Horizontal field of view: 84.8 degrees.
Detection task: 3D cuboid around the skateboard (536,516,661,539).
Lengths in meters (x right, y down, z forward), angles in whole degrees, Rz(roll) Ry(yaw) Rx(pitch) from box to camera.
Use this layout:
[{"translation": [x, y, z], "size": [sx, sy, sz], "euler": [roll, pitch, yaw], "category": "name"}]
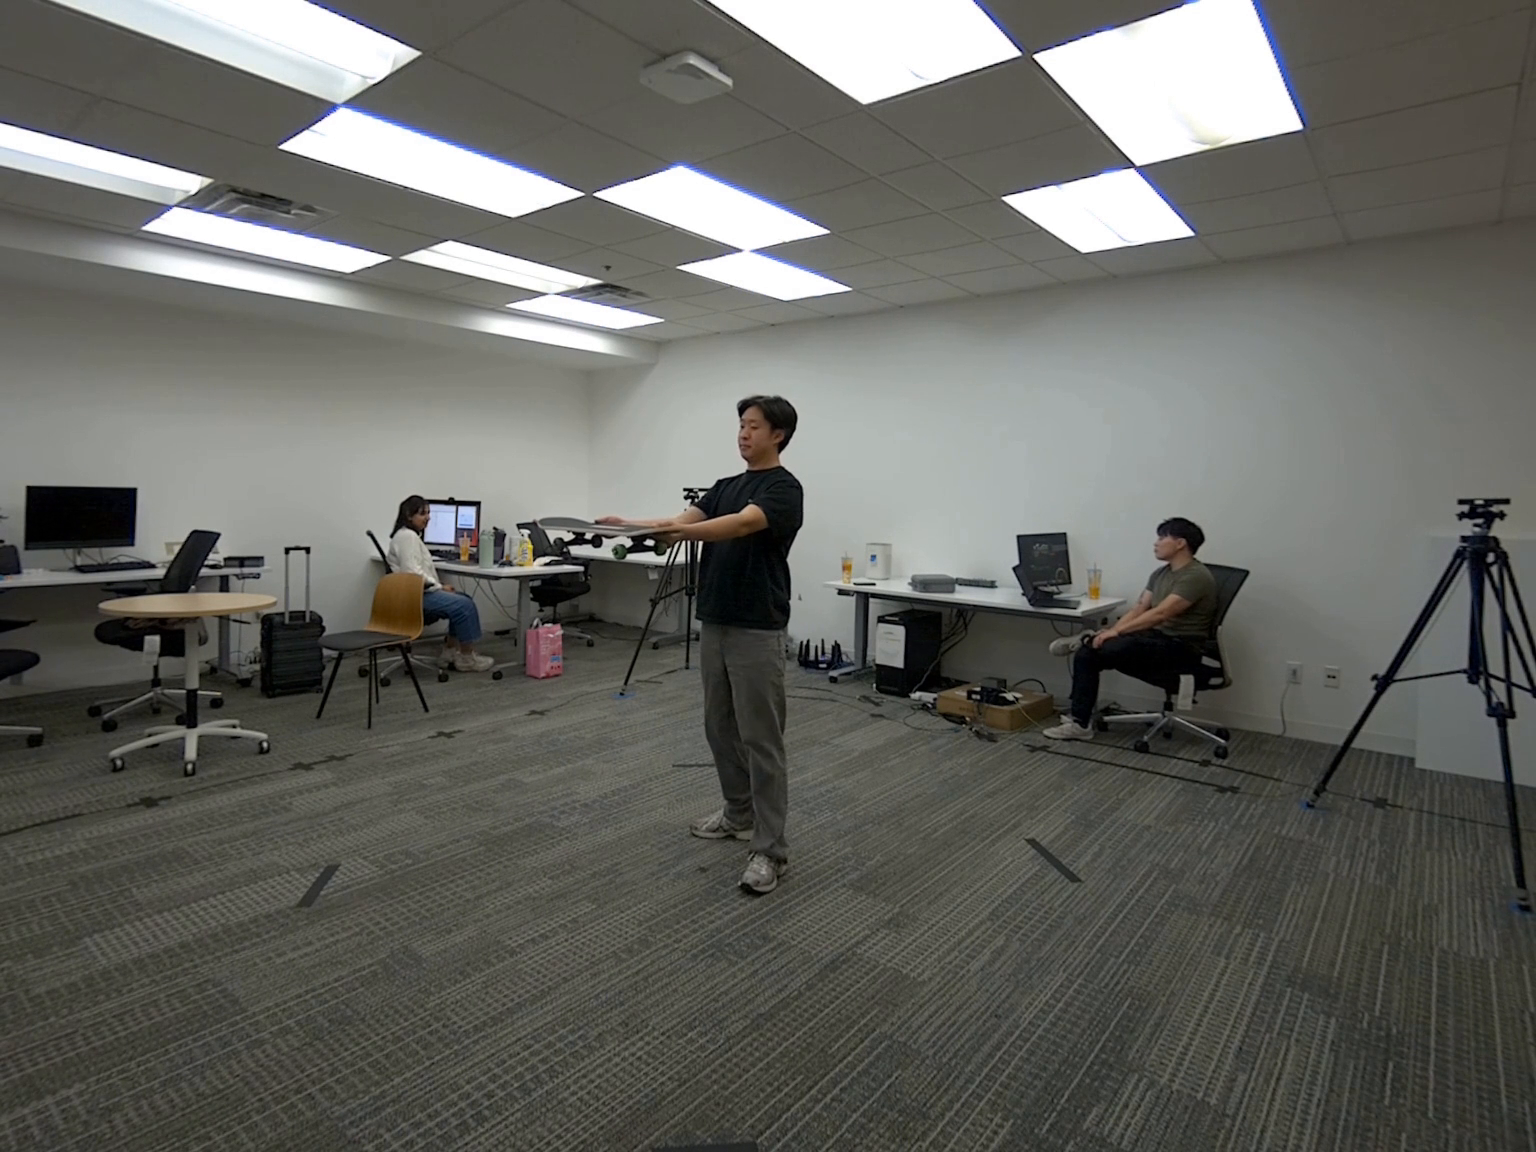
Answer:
[{"translation": [-0.551, -0.132, 2.856], "size": [0.188, 0.109, 0.812], "euler": [-8, 10, -40], "category": "skateboard"}]
